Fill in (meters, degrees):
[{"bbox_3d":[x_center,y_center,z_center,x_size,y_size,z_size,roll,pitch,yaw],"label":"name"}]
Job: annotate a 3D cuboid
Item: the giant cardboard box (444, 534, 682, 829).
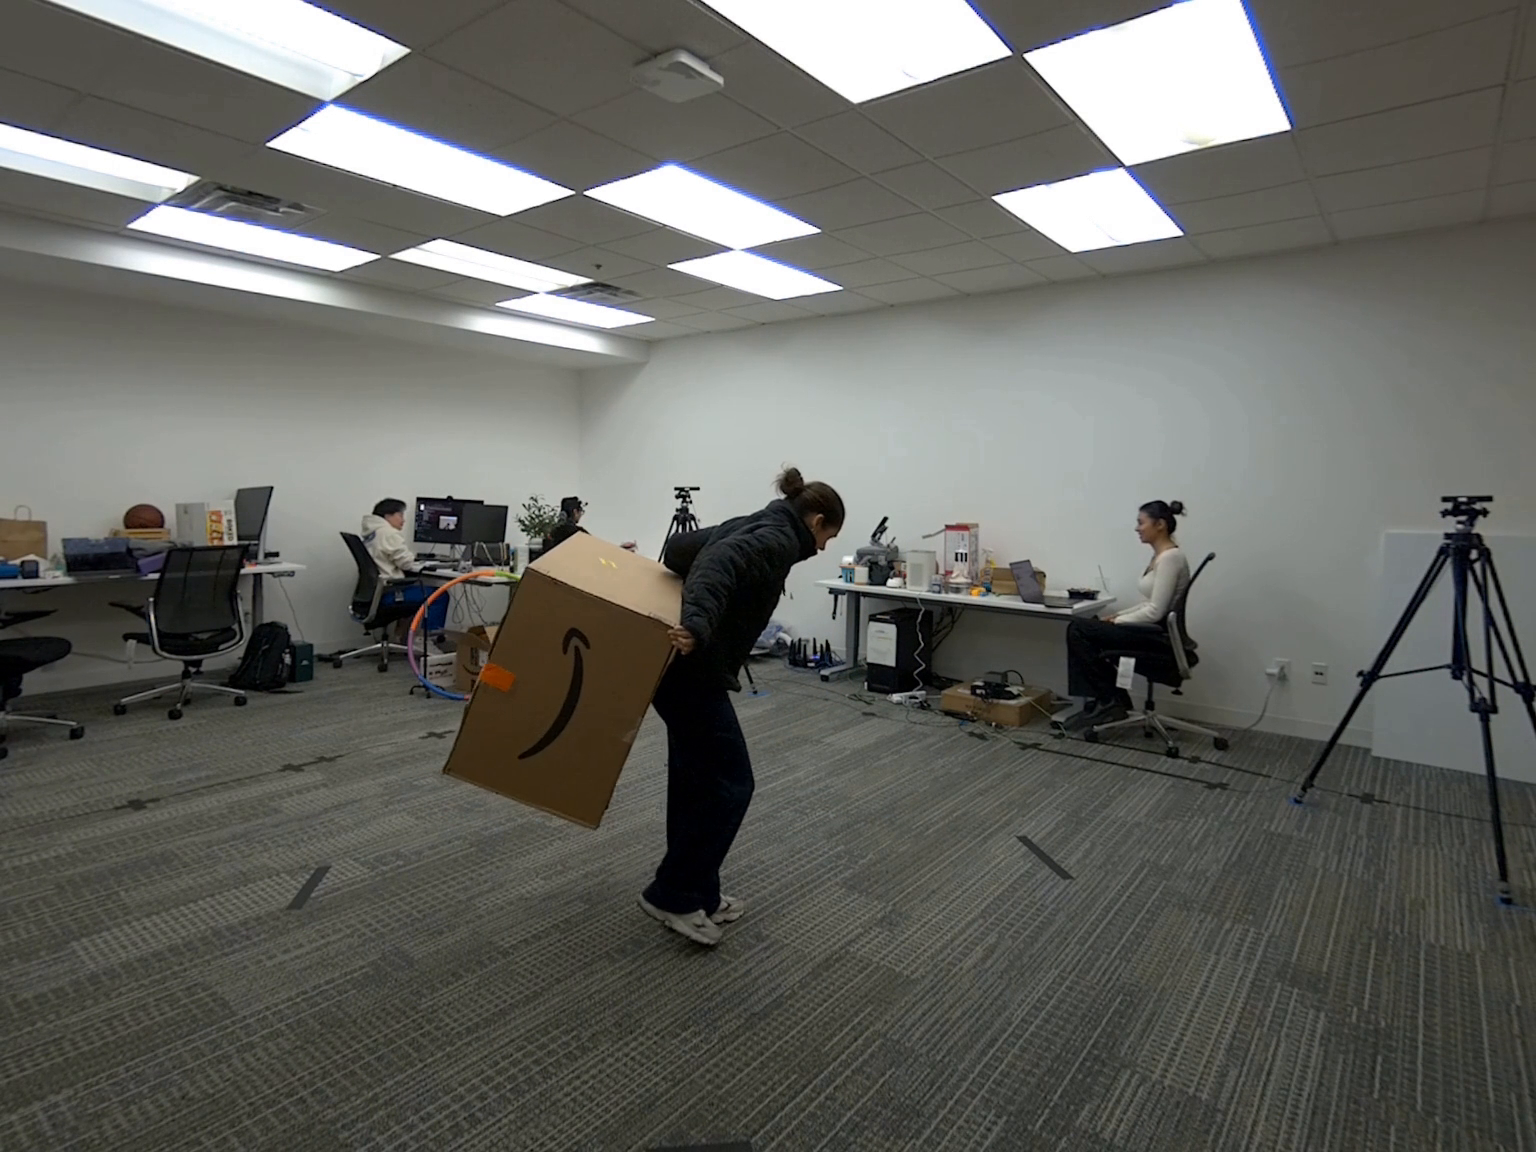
[{"bbox_3d":[-0.567,0.241,2.678,0.423,0.576,1.035,23,5,-7],"label":"giant cardboard box"}]
